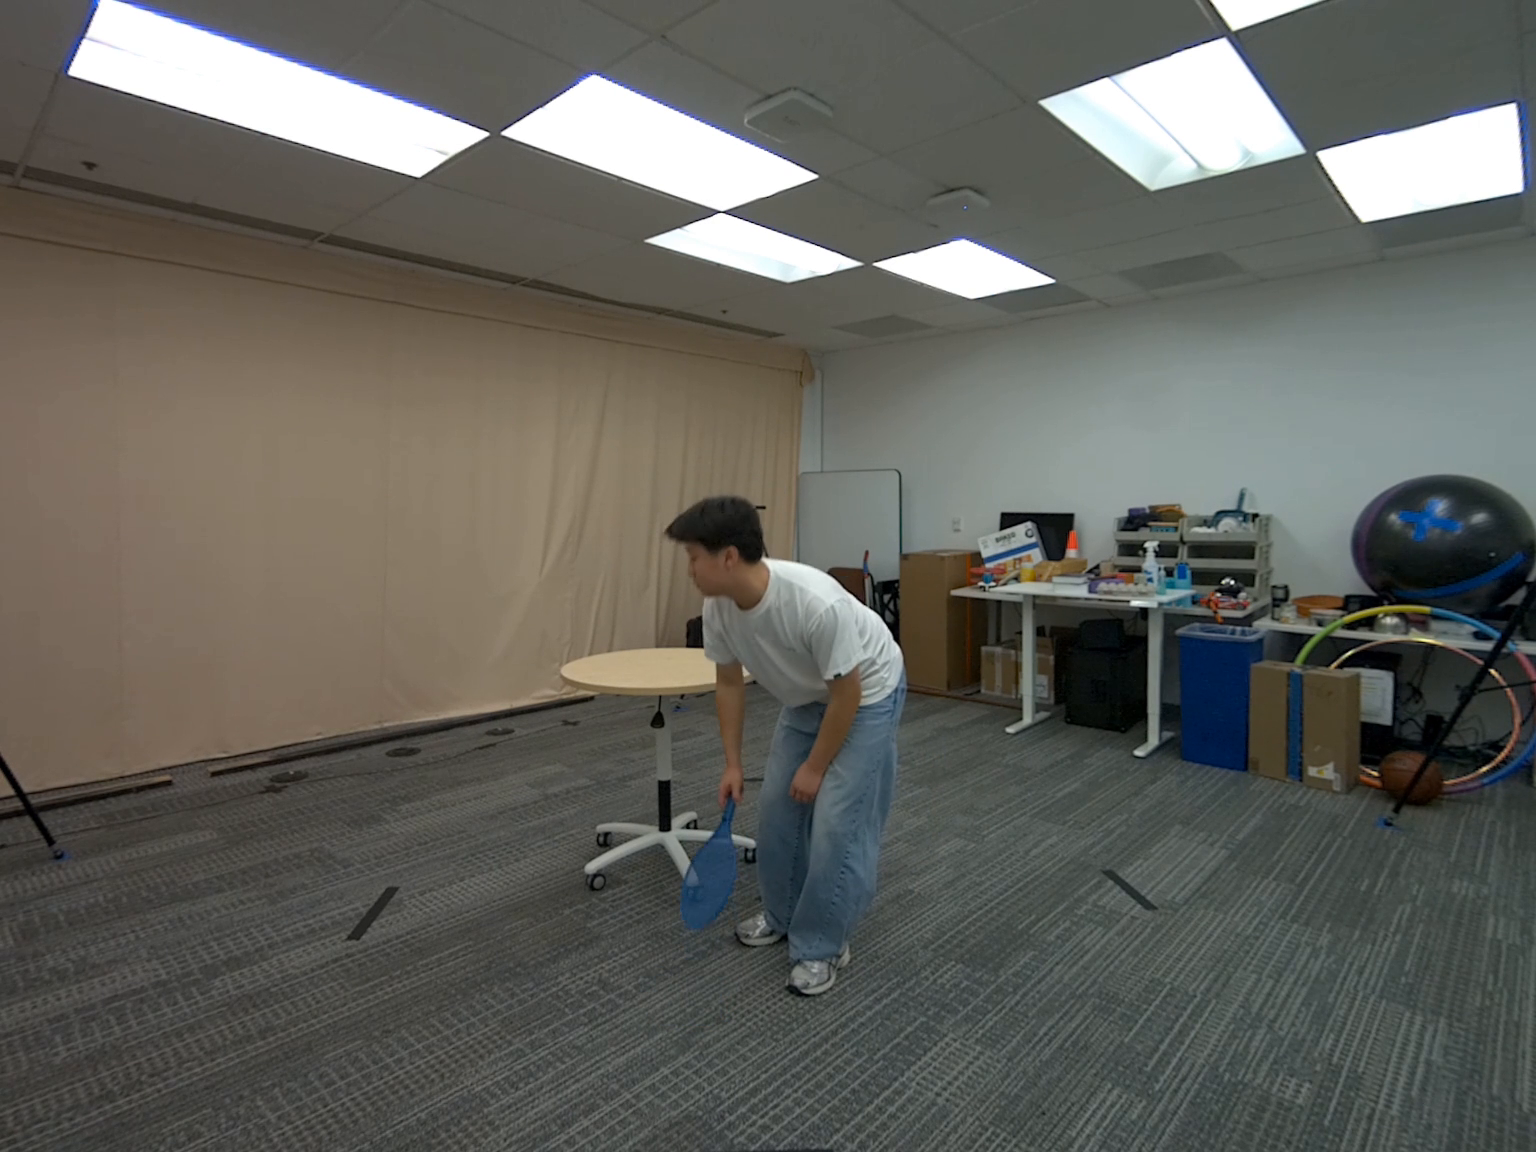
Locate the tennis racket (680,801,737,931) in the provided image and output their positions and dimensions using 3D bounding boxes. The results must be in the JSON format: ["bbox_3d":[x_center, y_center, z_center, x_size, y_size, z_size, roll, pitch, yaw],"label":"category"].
[{"bbox_3d":[-0.149,0.792,2.449,0.031,0.434,0.219,39,-32,-27],"label":"tennis racket"}]
